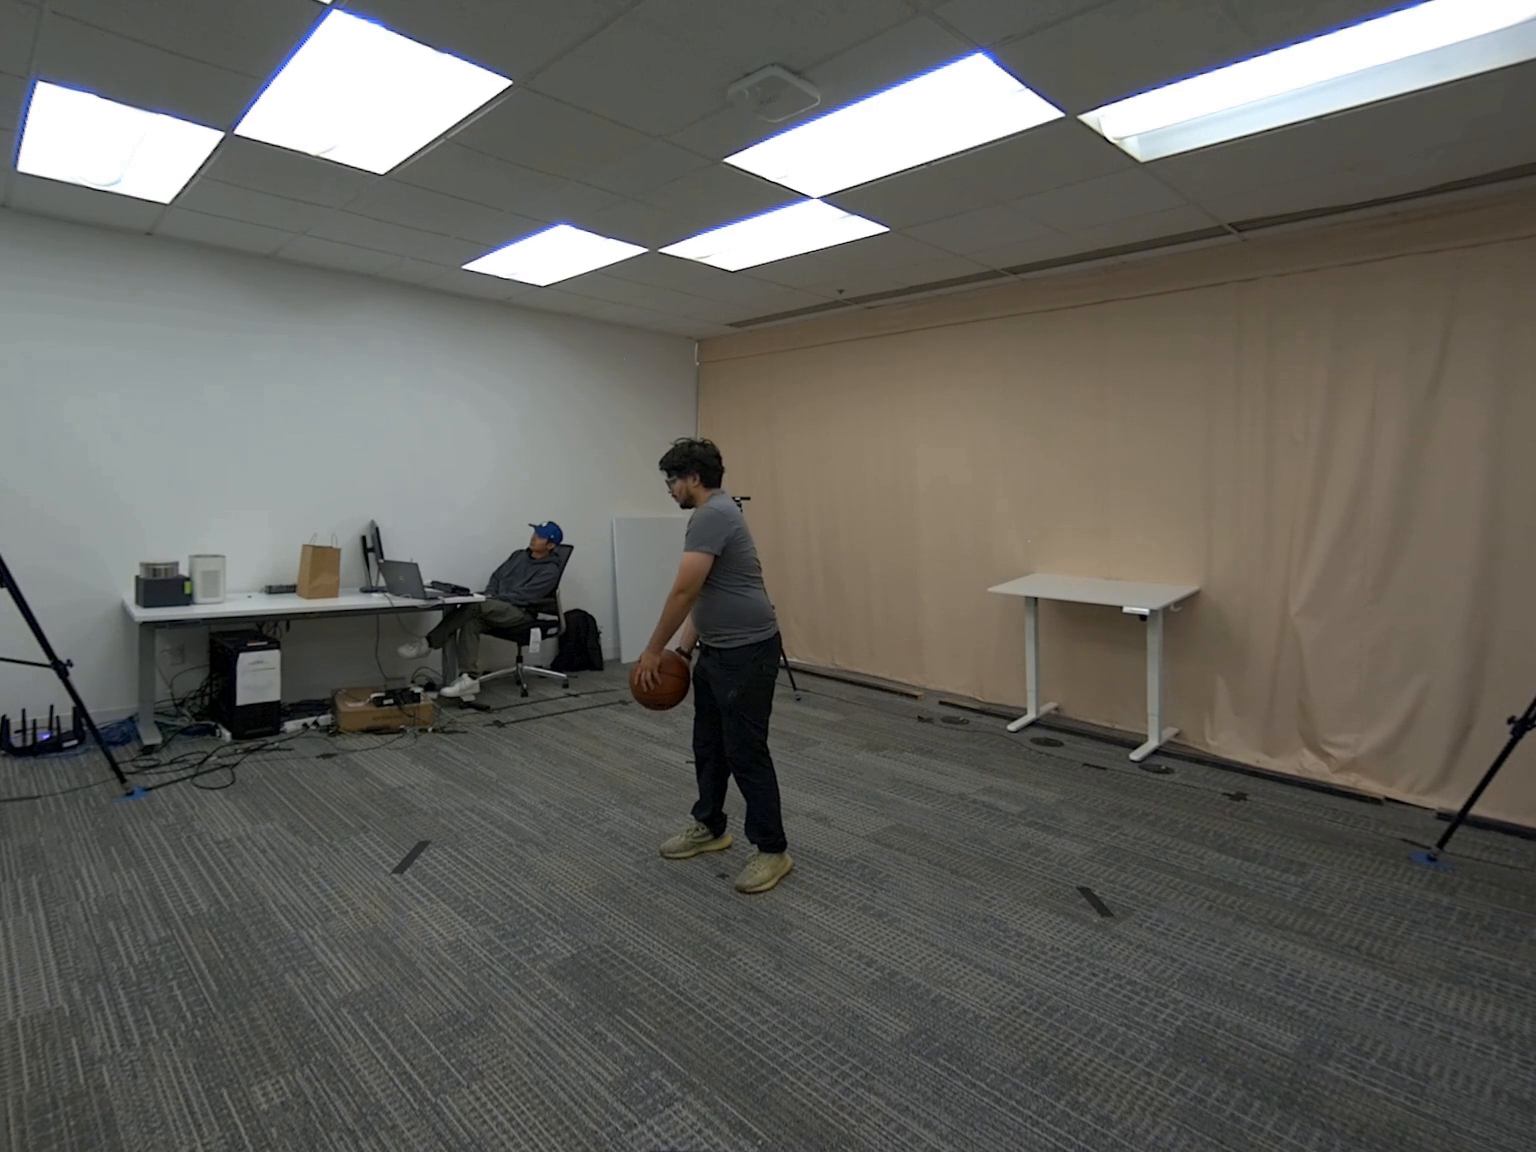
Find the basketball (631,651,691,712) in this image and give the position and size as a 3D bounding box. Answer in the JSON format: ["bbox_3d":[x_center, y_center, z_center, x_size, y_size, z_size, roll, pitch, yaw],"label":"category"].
[{"bbox_3d":[-0.427,0.394,3.264,0.236,0.235,0.237,1,4,-1],"label":"basketball"}]
